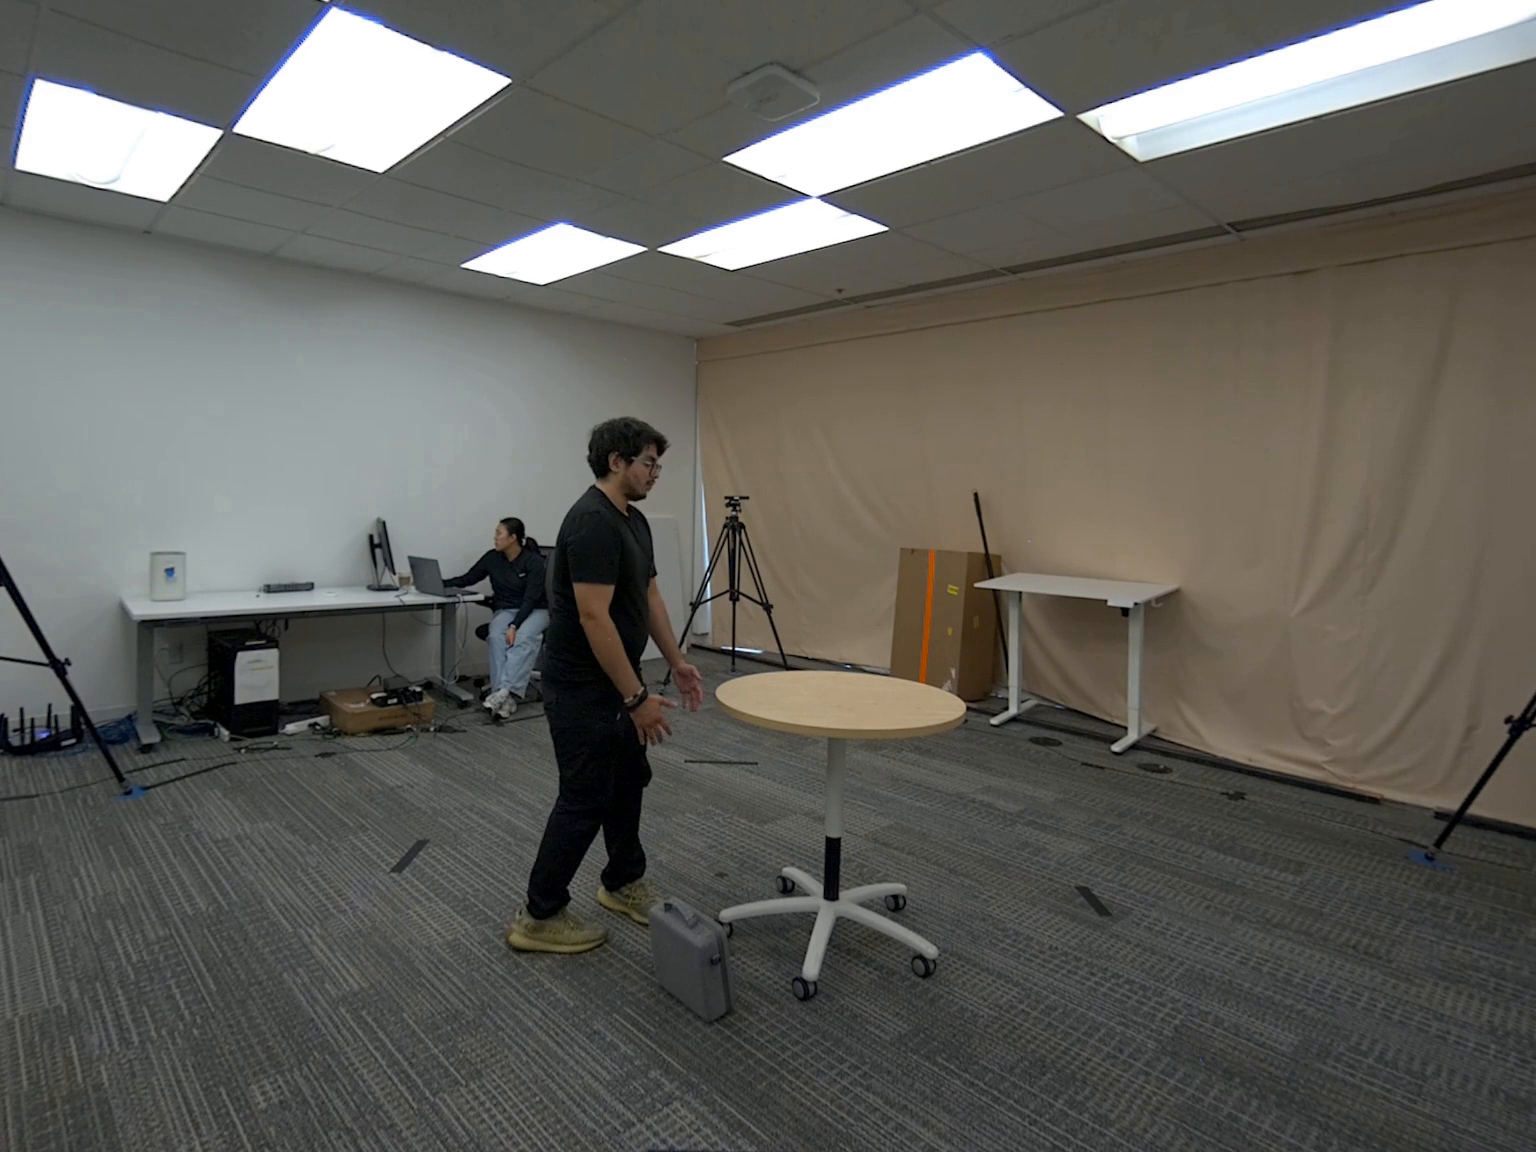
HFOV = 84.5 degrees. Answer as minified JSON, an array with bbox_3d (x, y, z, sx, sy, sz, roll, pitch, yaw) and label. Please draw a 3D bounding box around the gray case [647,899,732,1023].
[{"bbox_3d":[-0.222,1.045,2.304,0.102,0.258,0.264,-14,15,-39],"label":"gray case"}]
